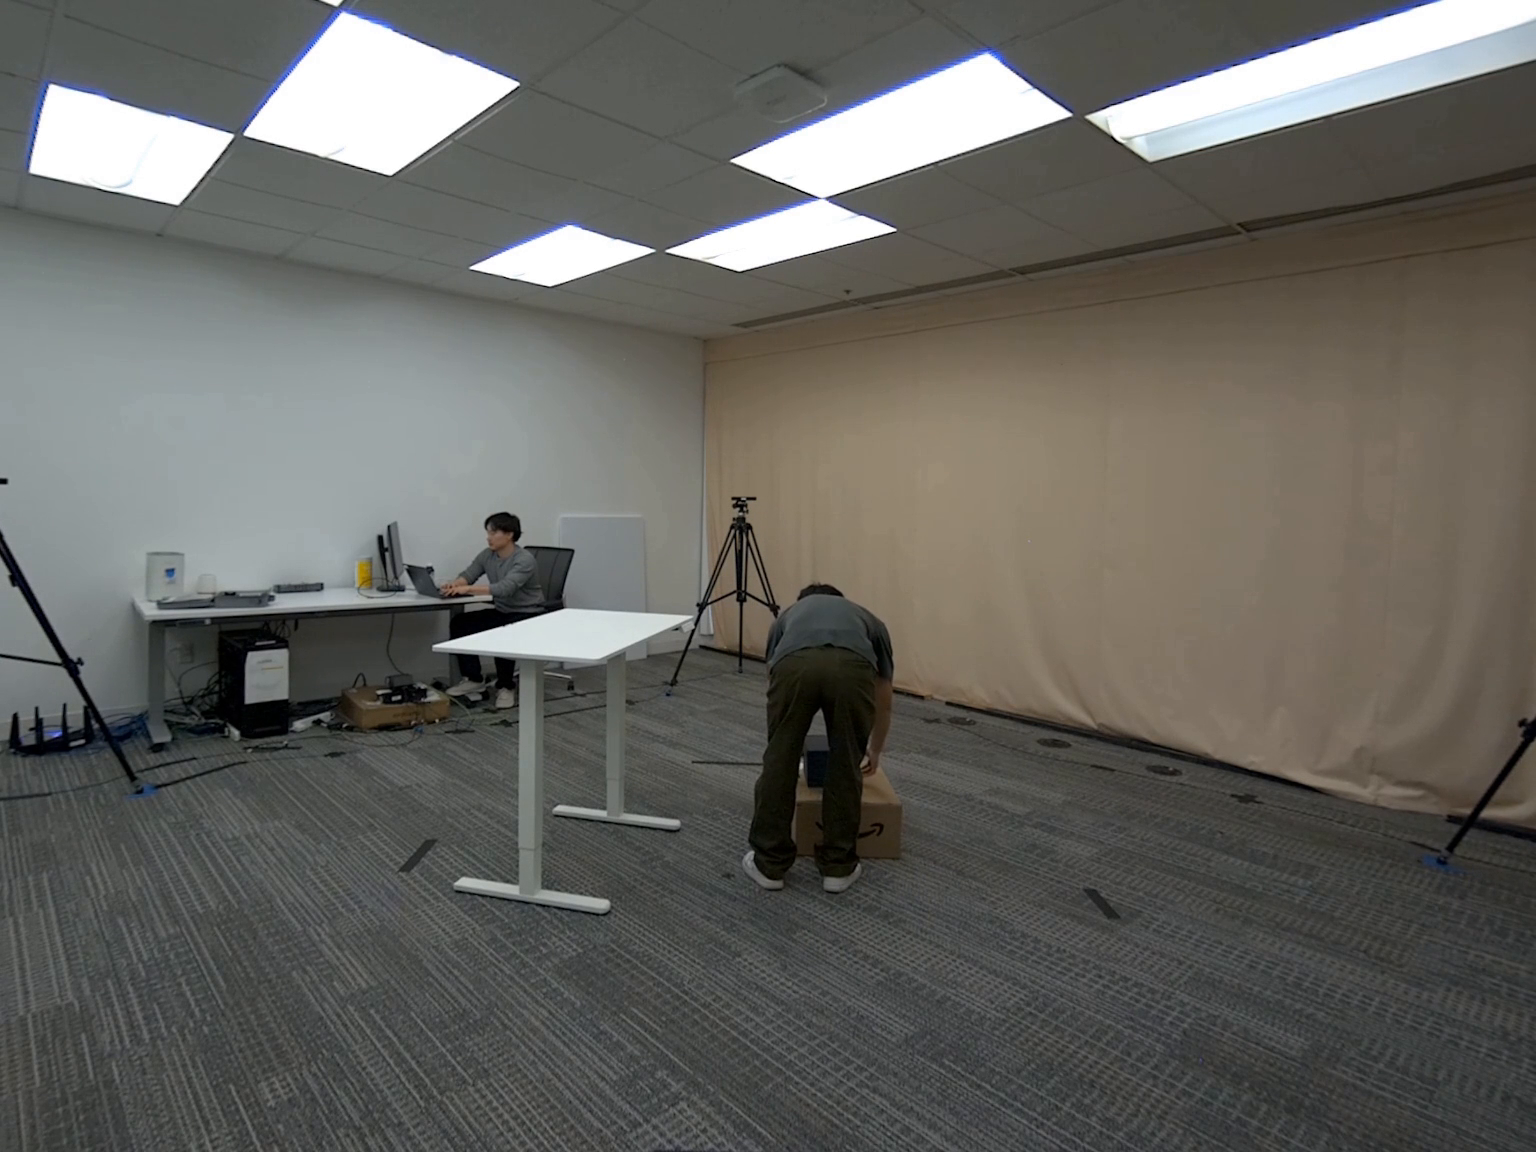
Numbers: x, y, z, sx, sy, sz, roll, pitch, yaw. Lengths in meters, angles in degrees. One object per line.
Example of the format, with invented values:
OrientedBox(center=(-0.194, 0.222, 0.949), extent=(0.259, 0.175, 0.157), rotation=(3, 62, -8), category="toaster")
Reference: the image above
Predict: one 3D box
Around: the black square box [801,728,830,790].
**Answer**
OrientedBox(center=(0.261, 0.785, 3.577), extent=(0.217, 0.155, 0.228), rotation=(0, 4, -1), category="black square box")
